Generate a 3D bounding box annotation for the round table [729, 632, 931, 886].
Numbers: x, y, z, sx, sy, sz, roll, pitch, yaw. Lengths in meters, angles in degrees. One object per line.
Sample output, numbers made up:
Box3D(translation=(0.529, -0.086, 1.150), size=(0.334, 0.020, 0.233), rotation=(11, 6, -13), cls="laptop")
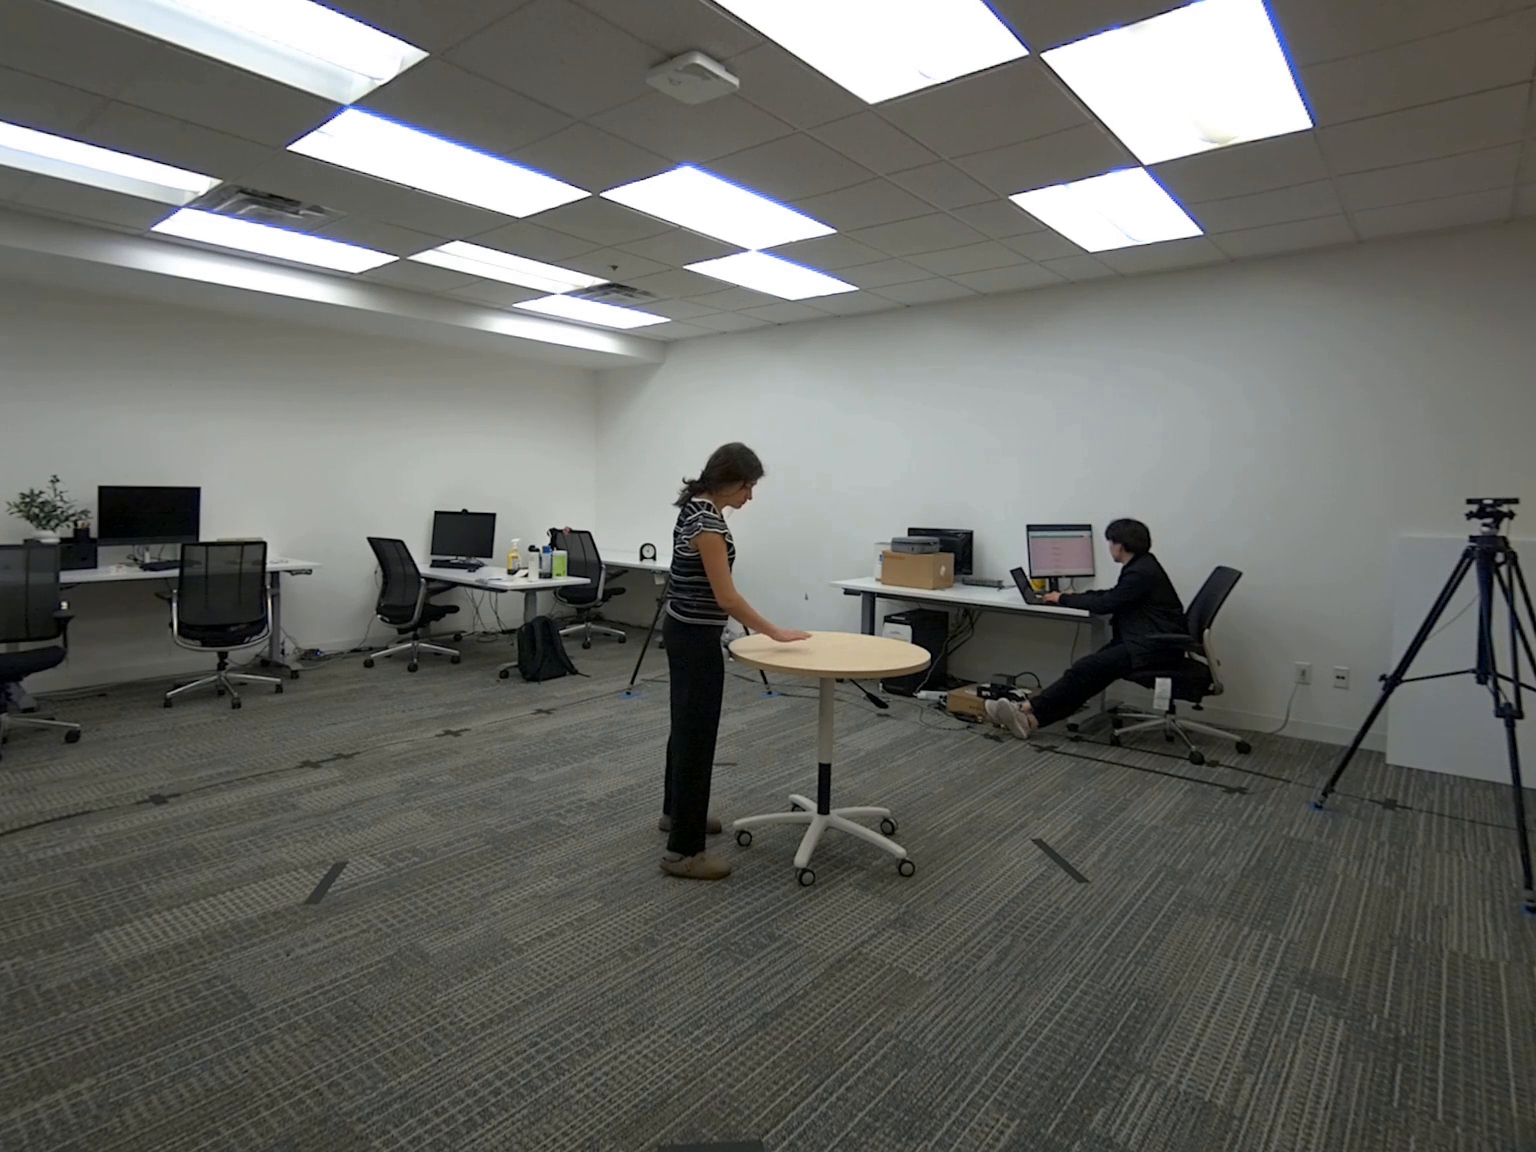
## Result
Box3D(translation=(0.218, 0.672, 3.289), size=(0.763, 0.791, 0.768), rotation=(1, 5, -2), cls="round table")
